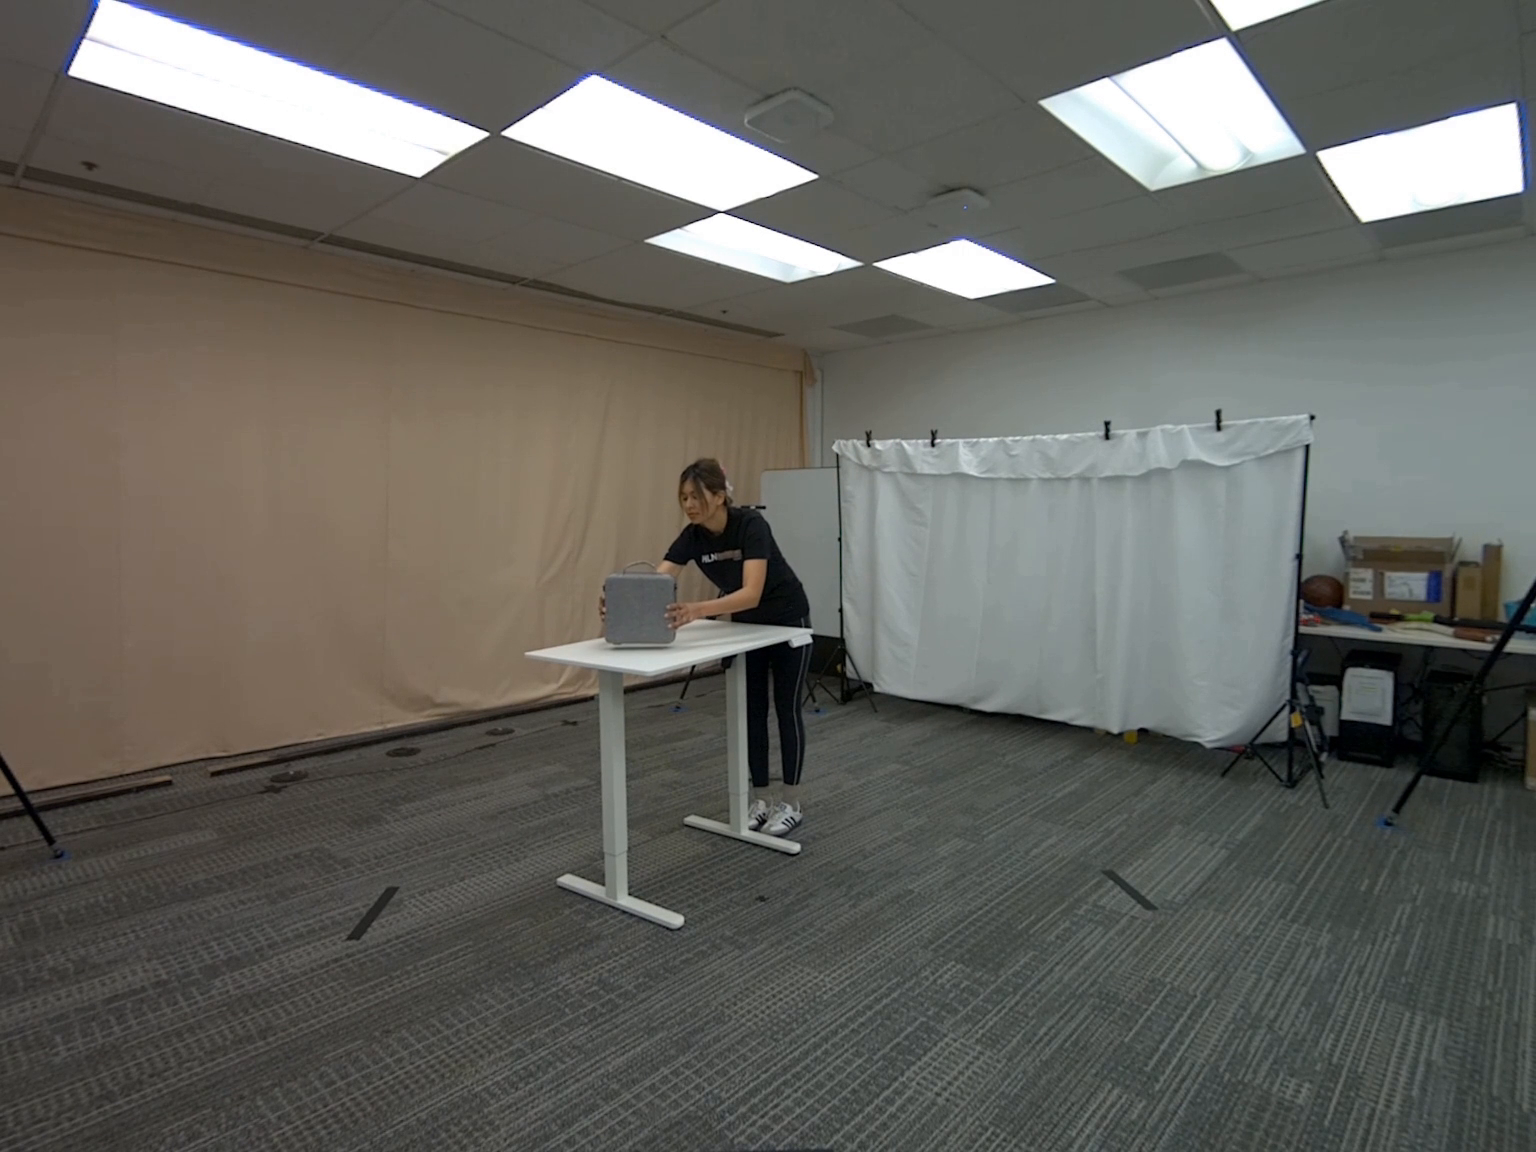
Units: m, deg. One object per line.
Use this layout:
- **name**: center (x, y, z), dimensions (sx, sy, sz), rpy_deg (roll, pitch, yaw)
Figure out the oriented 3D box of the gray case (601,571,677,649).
- **gray case**: center (-0.458, 0.116, 3.018), dimensions (0.256, 0.260, 0.105), rpy_deg (0, 3, -1)
